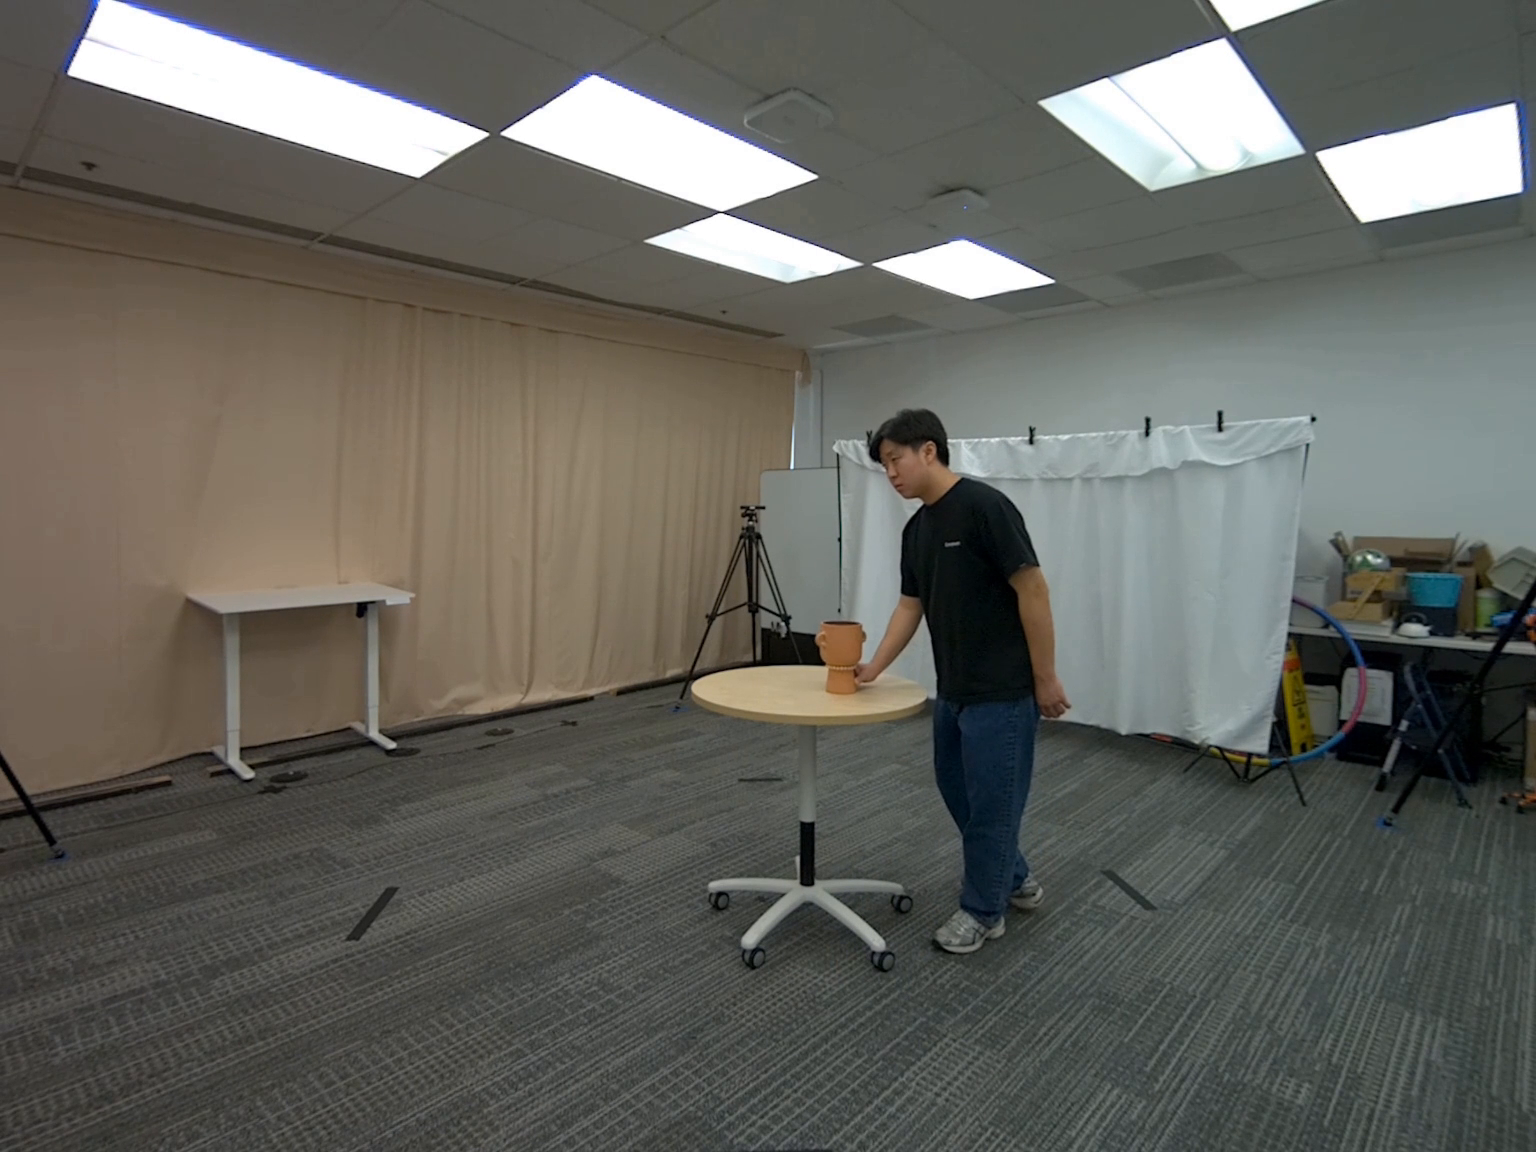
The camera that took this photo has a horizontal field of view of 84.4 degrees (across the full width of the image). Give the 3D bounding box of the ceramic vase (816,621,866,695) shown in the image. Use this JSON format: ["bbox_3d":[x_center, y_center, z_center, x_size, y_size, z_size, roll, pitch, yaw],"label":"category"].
[{"bbox_3d":[0.248,0.264,2.696,0.161,0.219,0.133,1,2,10],"label":"ceramic vase"}]
